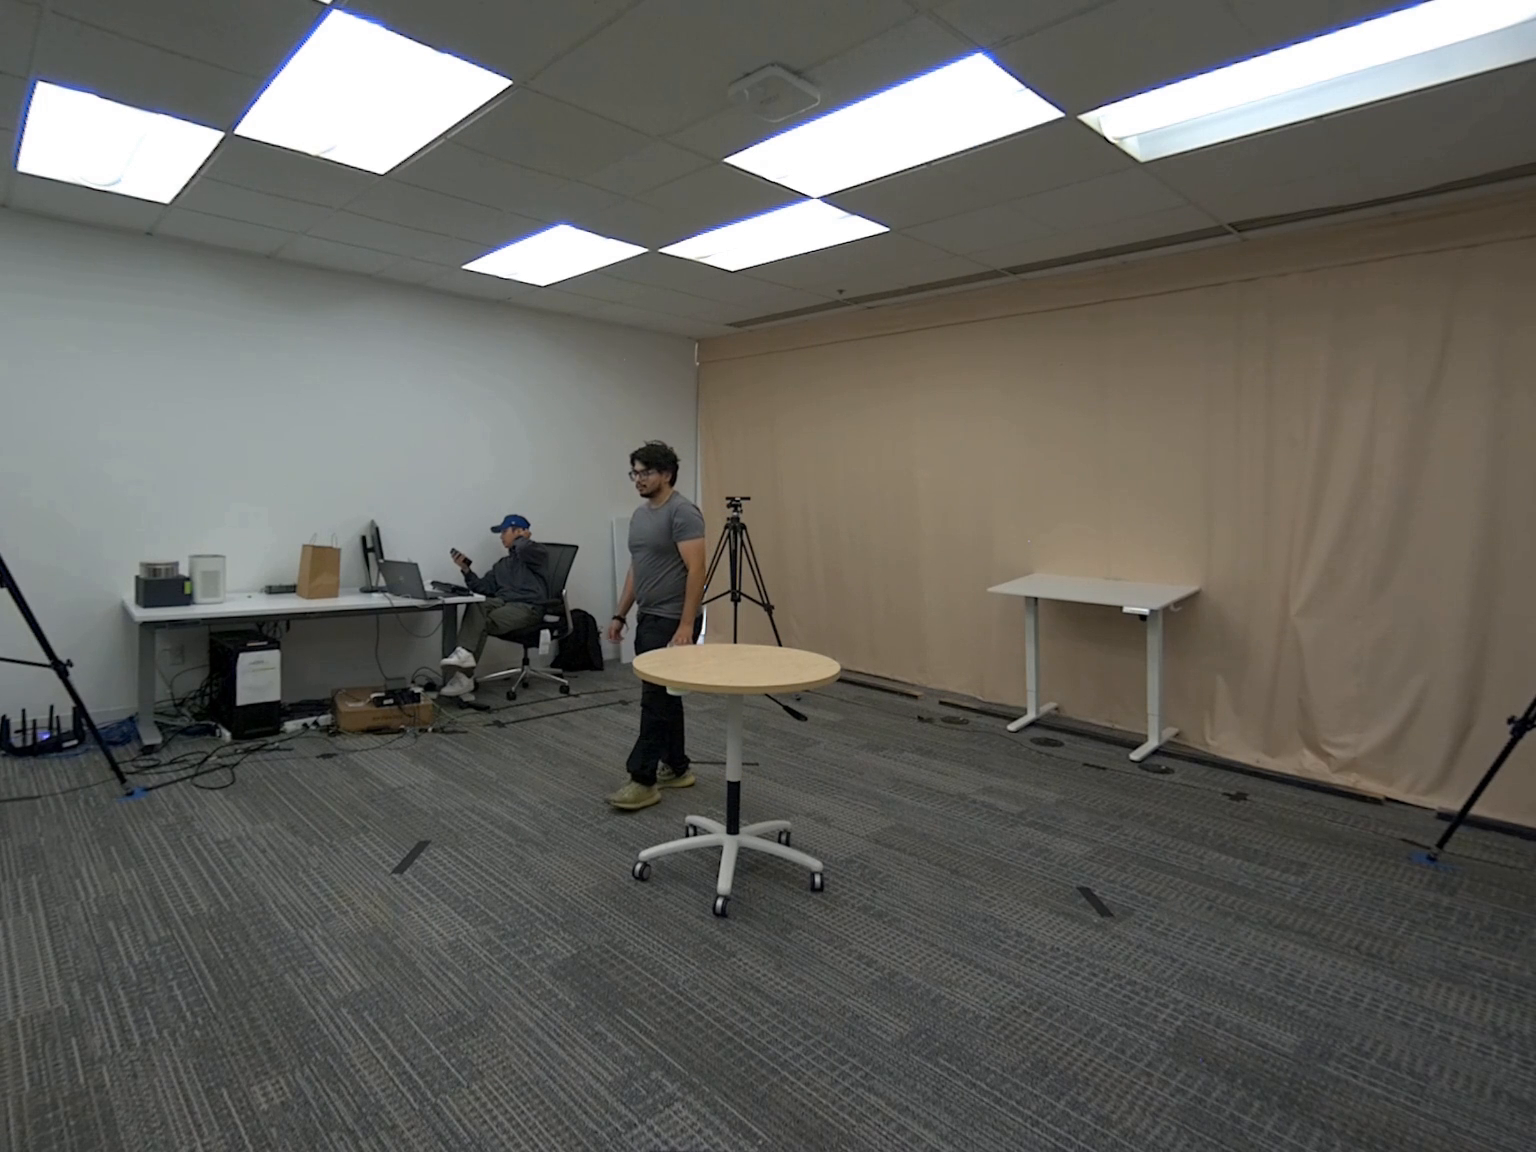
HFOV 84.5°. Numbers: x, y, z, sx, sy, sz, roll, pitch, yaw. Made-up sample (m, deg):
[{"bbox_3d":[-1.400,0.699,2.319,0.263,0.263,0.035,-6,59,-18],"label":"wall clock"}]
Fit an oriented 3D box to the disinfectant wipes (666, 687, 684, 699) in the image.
[{"bbox_3d":[-0.414,0.409,3.663,0.117,0.216,0.118,5,8,-2],"label":"disinfectant wipes"}]
